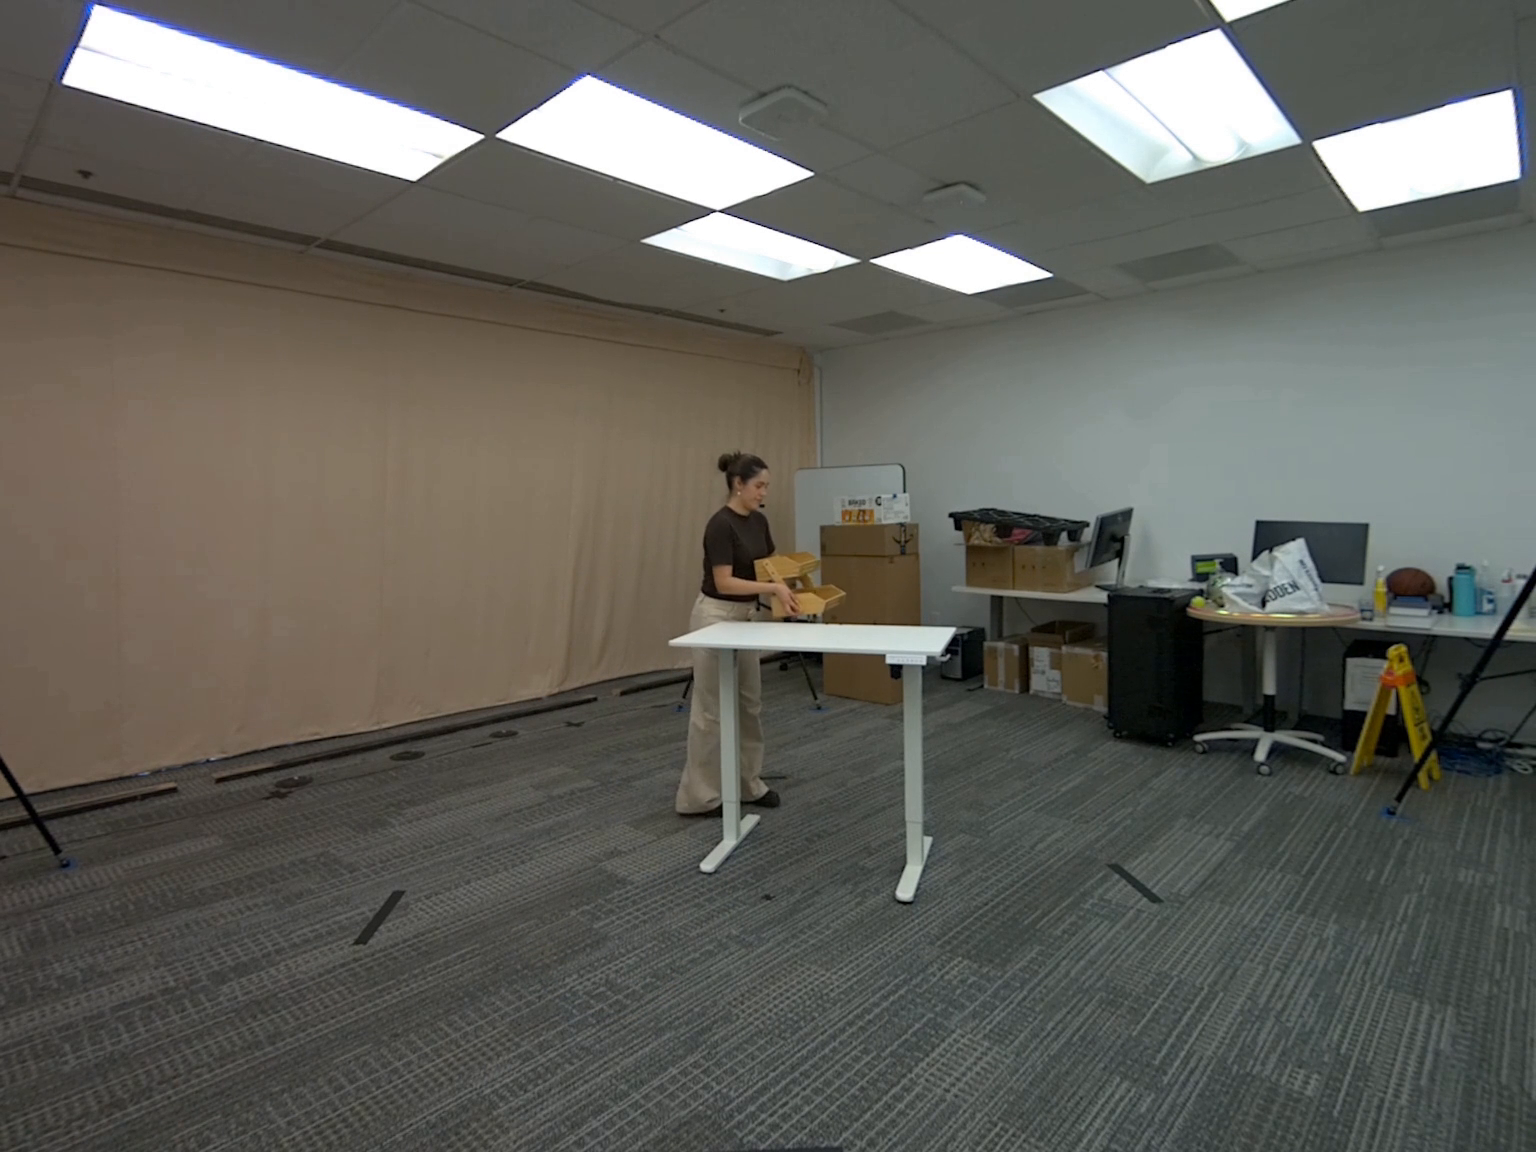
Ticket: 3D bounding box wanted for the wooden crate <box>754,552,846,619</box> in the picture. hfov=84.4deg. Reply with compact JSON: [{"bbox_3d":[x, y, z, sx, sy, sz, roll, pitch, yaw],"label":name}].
[{"bbox_3d":[0.143,0.026,3.790,0.309,0.273,0.318,-9,1,24],"label":"wooden crate"}]
